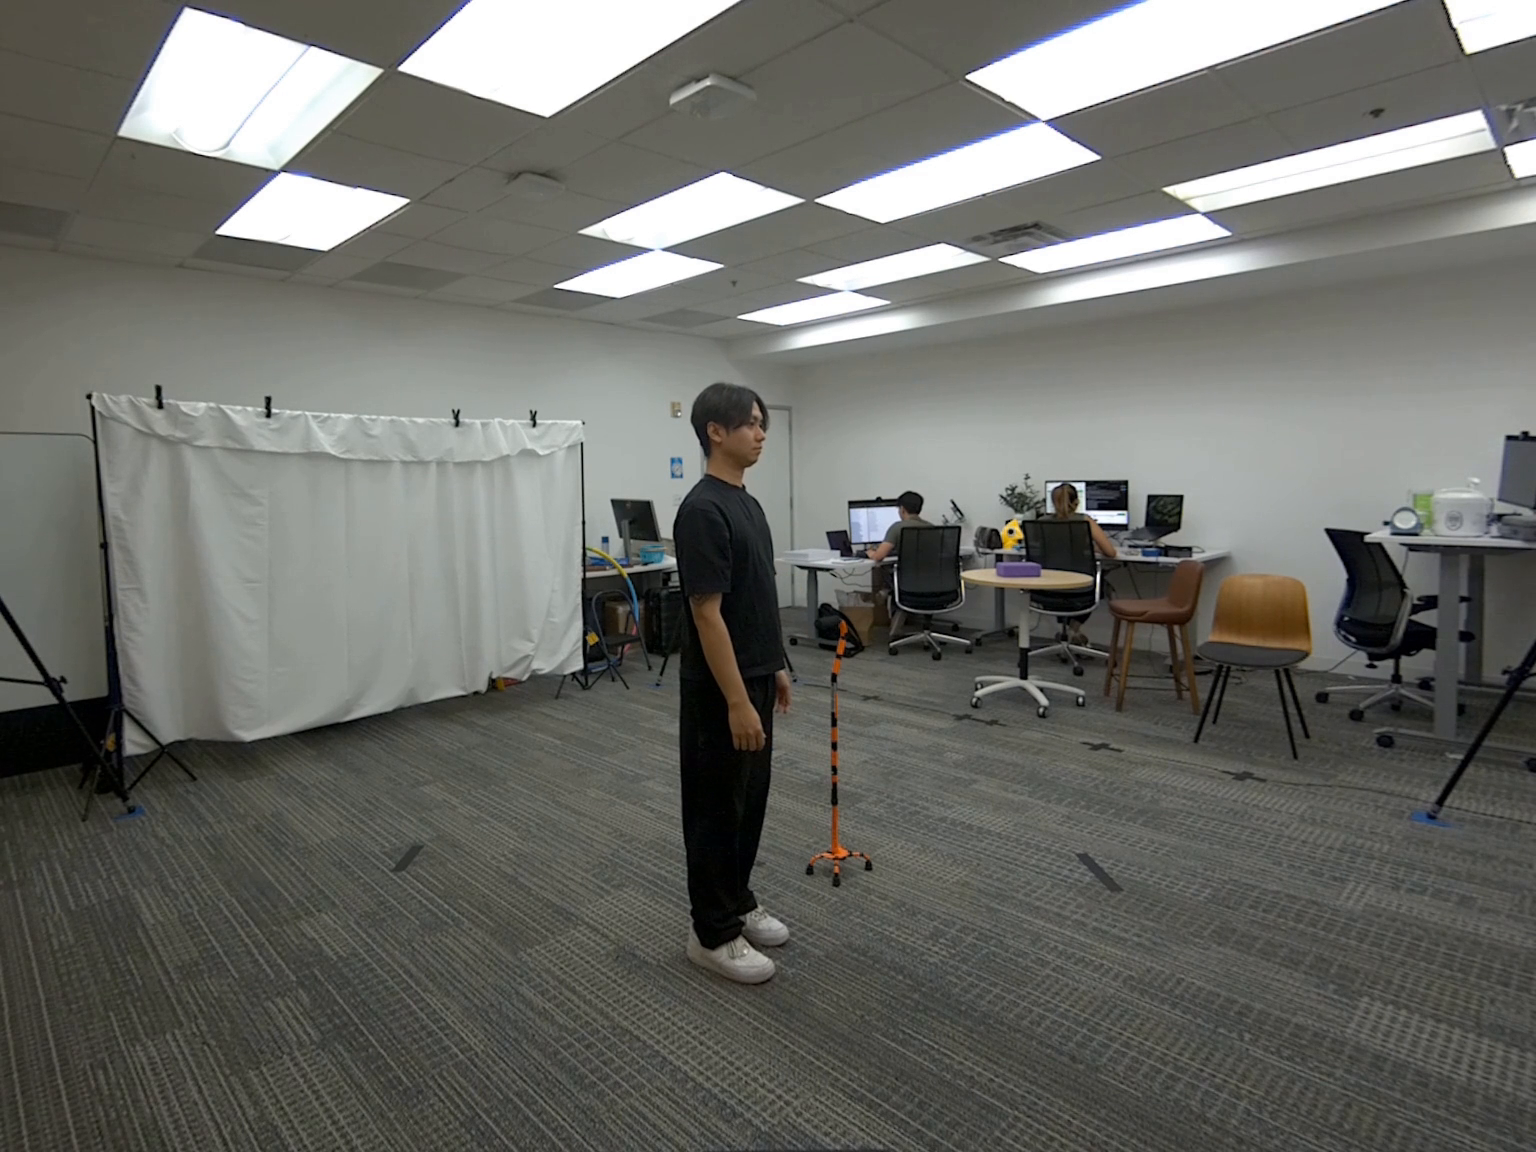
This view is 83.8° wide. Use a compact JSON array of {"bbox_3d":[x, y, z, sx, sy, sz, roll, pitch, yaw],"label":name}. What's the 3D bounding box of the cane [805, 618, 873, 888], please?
[{"bbox_3d":[0.249,0.600,3.013,0.201,0.906,0.156,-3,4,-44],"label":"cane"}]
